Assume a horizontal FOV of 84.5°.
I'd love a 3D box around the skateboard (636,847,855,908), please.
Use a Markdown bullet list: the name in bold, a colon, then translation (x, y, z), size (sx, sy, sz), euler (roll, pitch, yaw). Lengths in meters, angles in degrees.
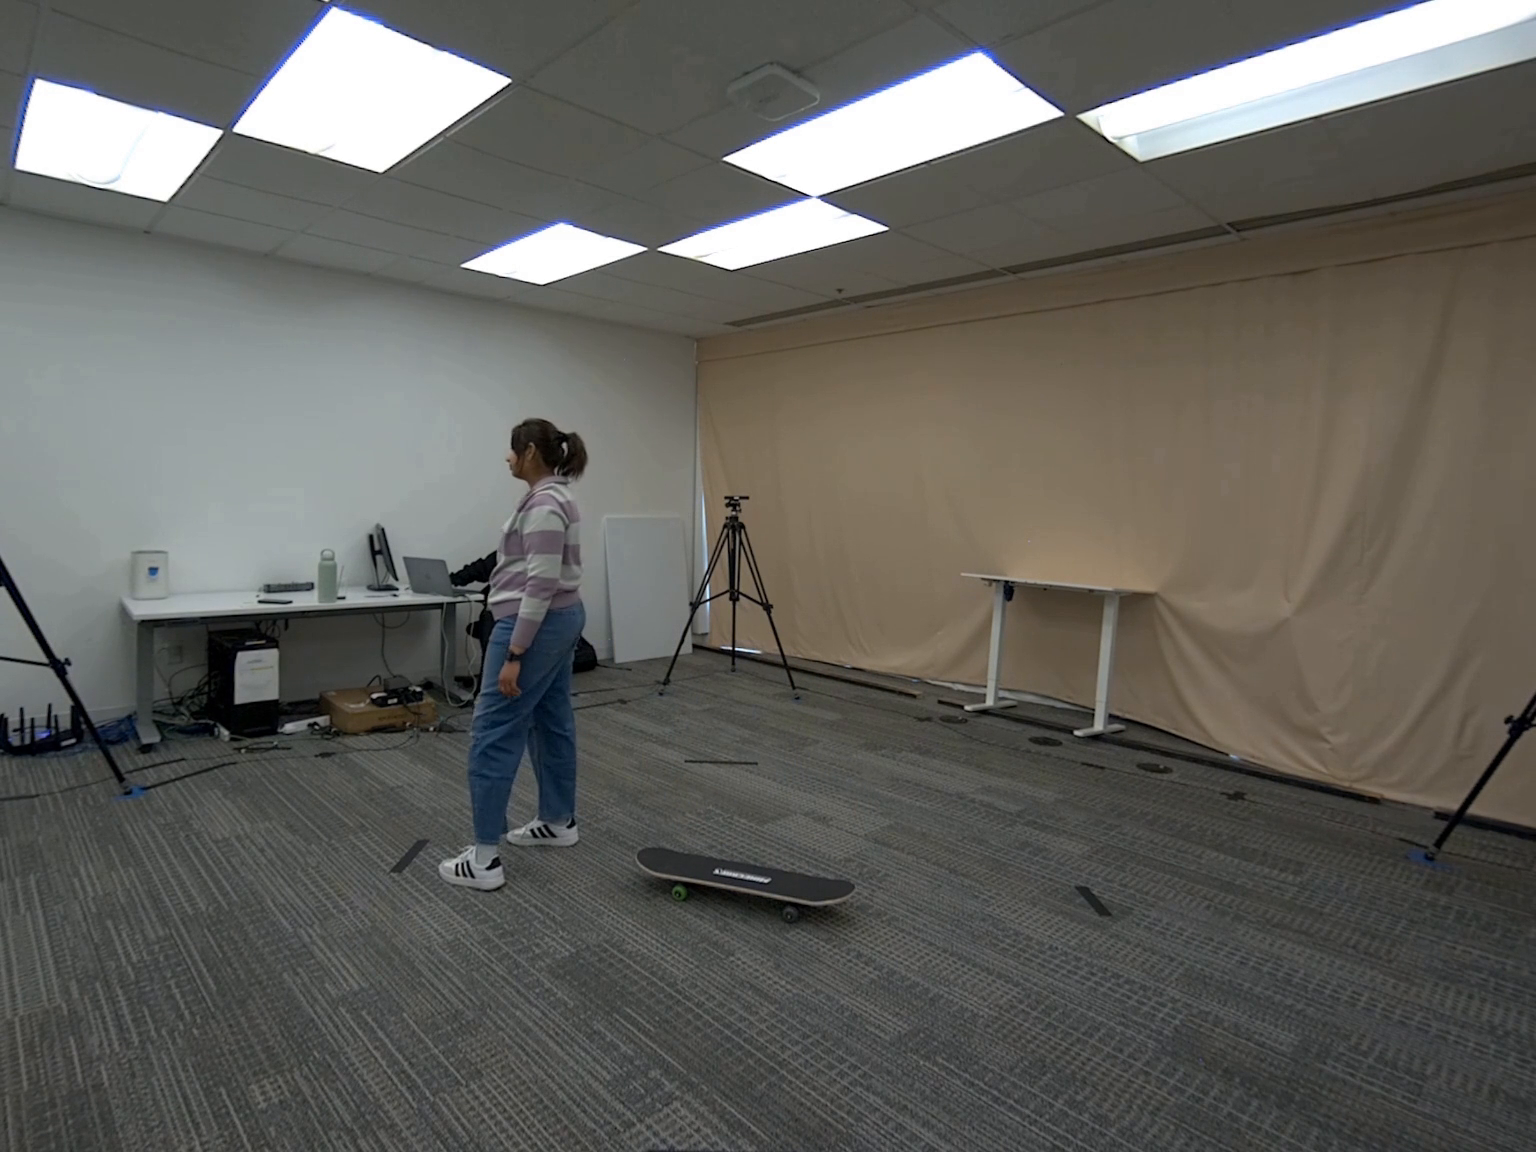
- **skateboard**: translation (-0.098, 1.068, 2.902), size (0.797, 0.110, 0.191), euler (3, 5, 19)
